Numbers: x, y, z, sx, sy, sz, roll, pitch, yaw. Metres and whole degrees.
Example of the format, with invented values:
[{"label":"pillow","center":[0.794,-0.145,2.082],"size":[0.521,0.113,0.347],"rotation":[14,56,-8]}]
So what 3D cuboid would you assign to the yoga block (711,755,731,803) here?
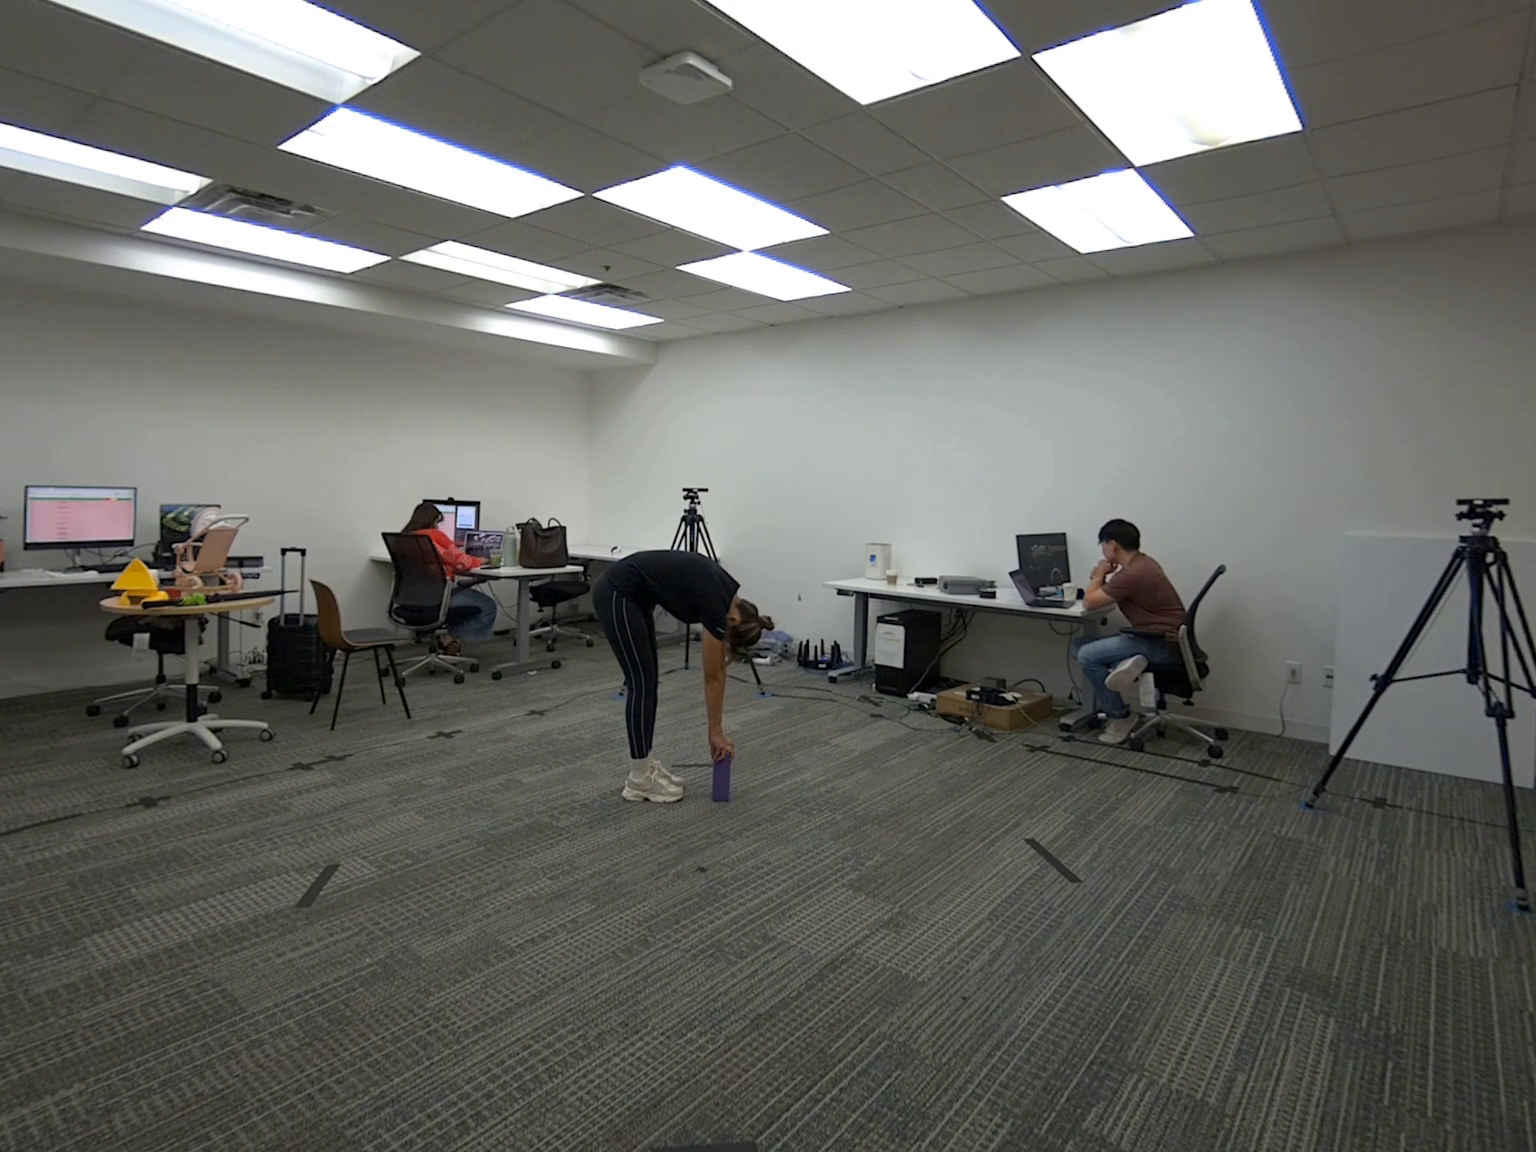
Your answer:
[{"label":"yoga block","center":[-0.220,0.890,3.857],"size":[0.076,0.228,0.150],"rotation":[0,5,-4]}]
